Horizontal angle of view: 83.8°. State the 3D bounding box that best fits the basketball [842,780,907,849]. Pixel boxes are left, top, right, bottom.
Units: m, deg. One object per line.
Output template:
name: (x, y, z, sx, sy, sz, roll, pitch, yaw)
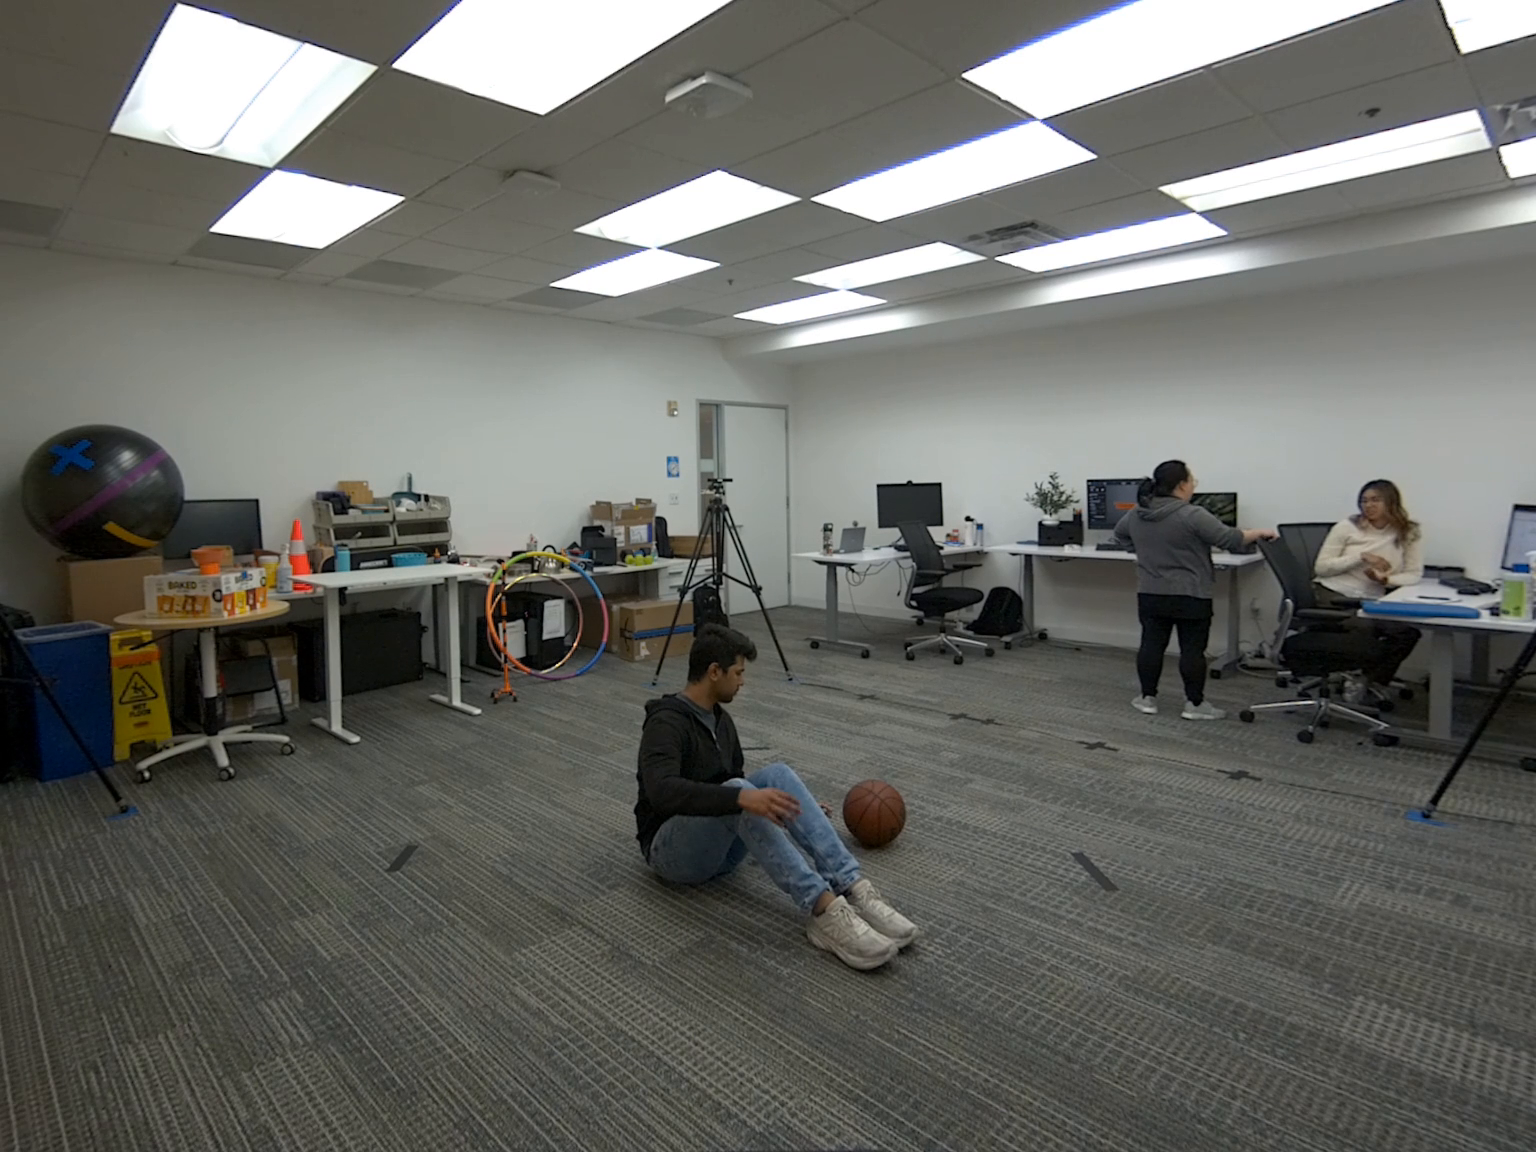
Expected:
basketball: (0.402, 0.893, 3.249, 0.236, 0.235, 0.237, -1, 5, -2)
